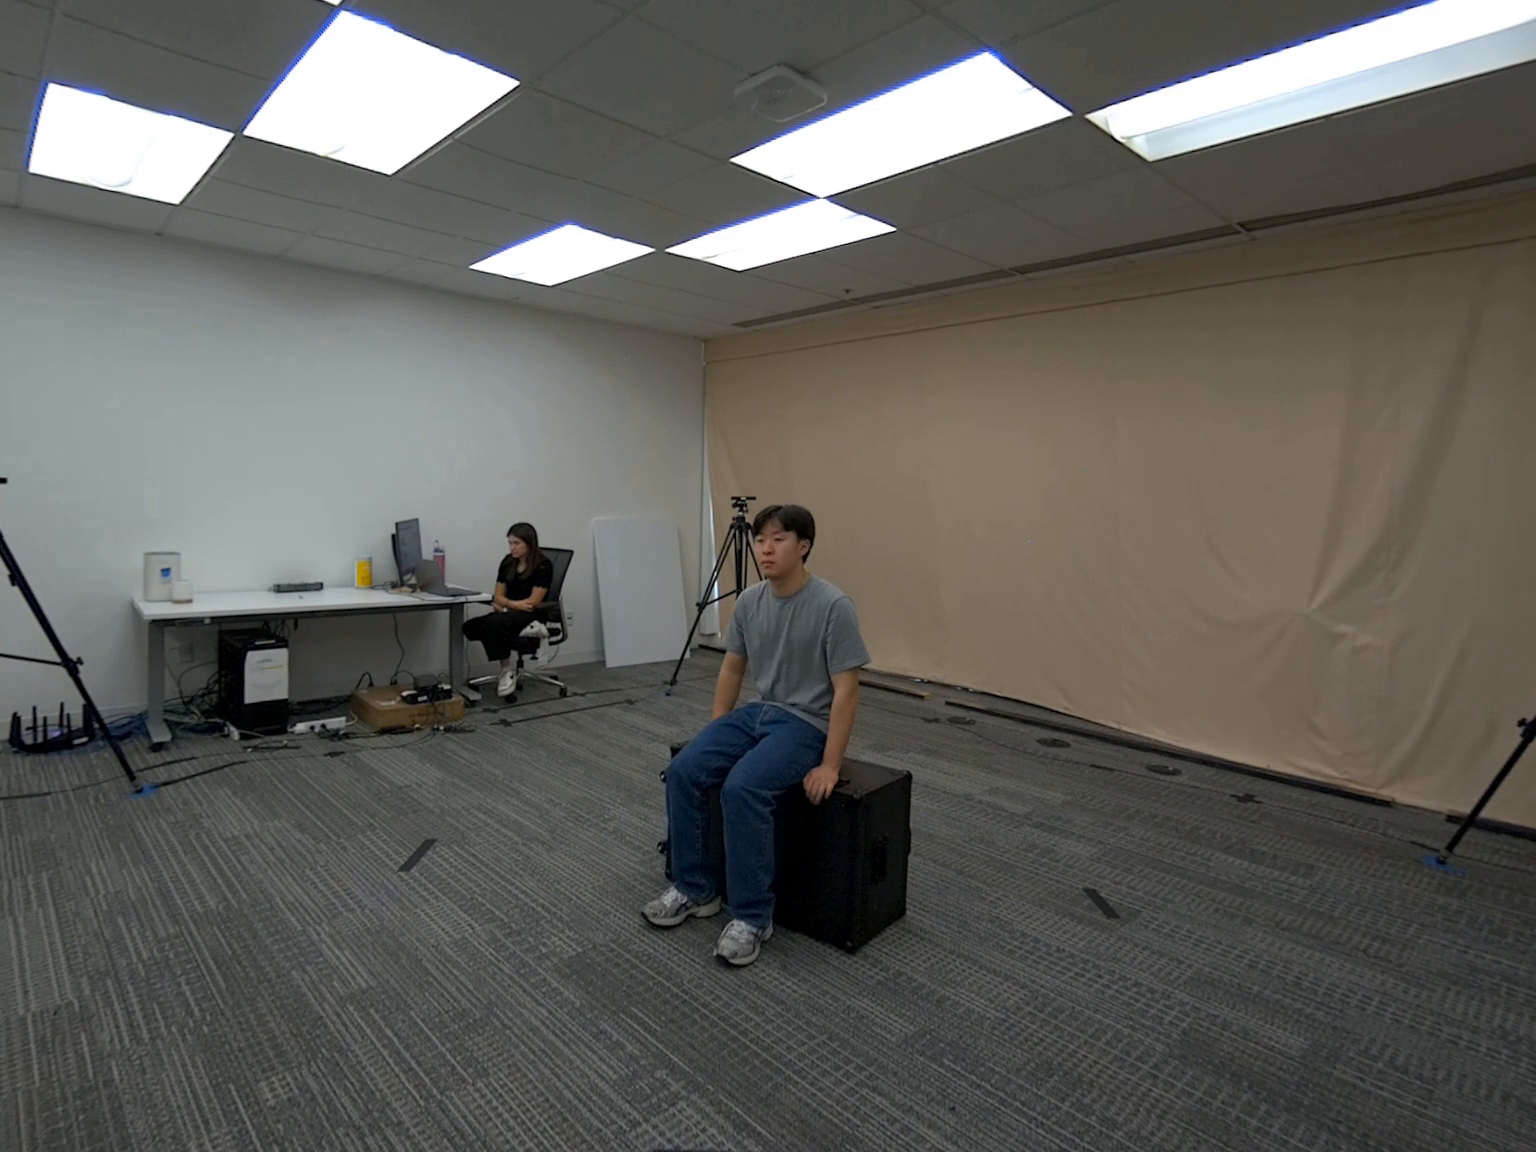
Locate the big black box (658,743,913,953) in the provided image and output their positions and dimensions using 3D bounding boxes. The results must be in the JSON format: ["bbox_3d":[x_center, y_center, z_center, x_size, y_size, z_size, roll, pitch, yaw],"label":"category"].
[{"bbox_3d":[0.033,0.868,2.965,0.882,0.520,0.387,5,3,37],"label":"big black box"}]
